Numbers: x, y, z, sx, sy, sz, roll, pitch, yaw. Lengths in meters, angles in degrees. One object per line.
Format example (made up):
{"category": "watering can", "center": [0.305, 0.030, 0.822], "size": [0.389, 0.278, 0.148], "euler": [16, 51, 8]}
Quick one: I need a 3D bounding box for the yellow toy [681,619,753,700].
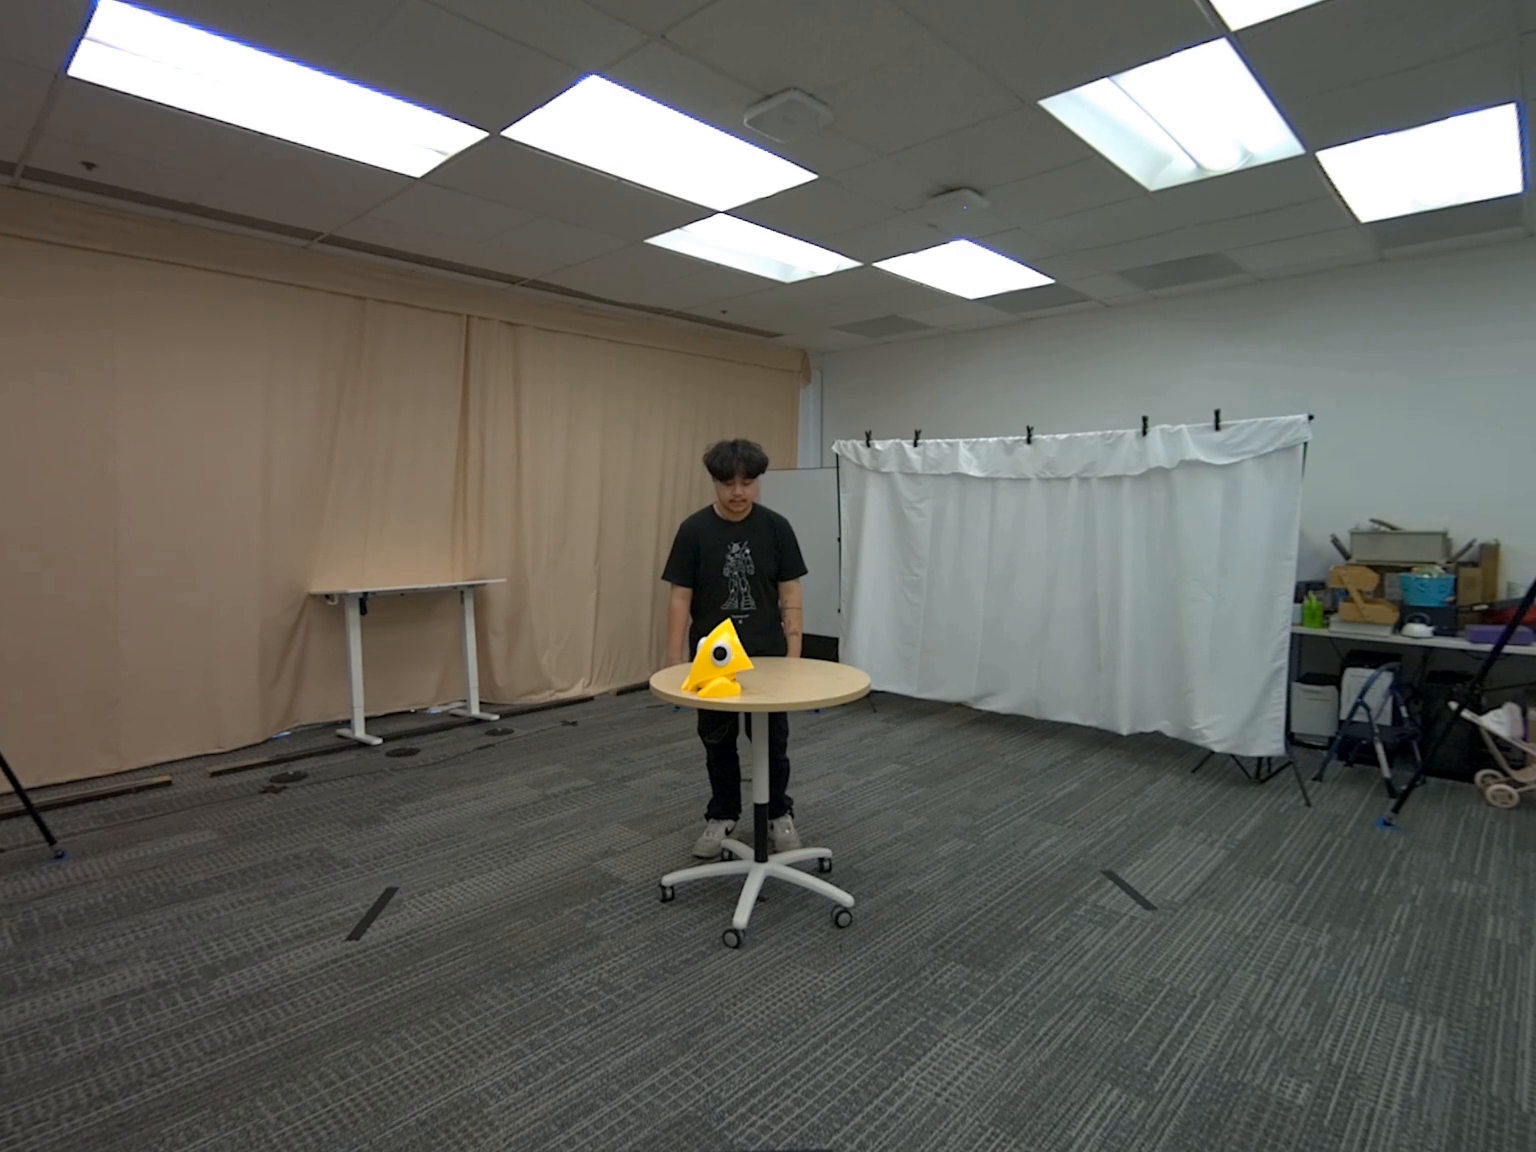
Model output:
{"category": "yellow toy", "center": [-0.172, 0.258, 2.747], "size": [0.188, 0.230, 0.211], "euler": [-2, 4, -31]}
